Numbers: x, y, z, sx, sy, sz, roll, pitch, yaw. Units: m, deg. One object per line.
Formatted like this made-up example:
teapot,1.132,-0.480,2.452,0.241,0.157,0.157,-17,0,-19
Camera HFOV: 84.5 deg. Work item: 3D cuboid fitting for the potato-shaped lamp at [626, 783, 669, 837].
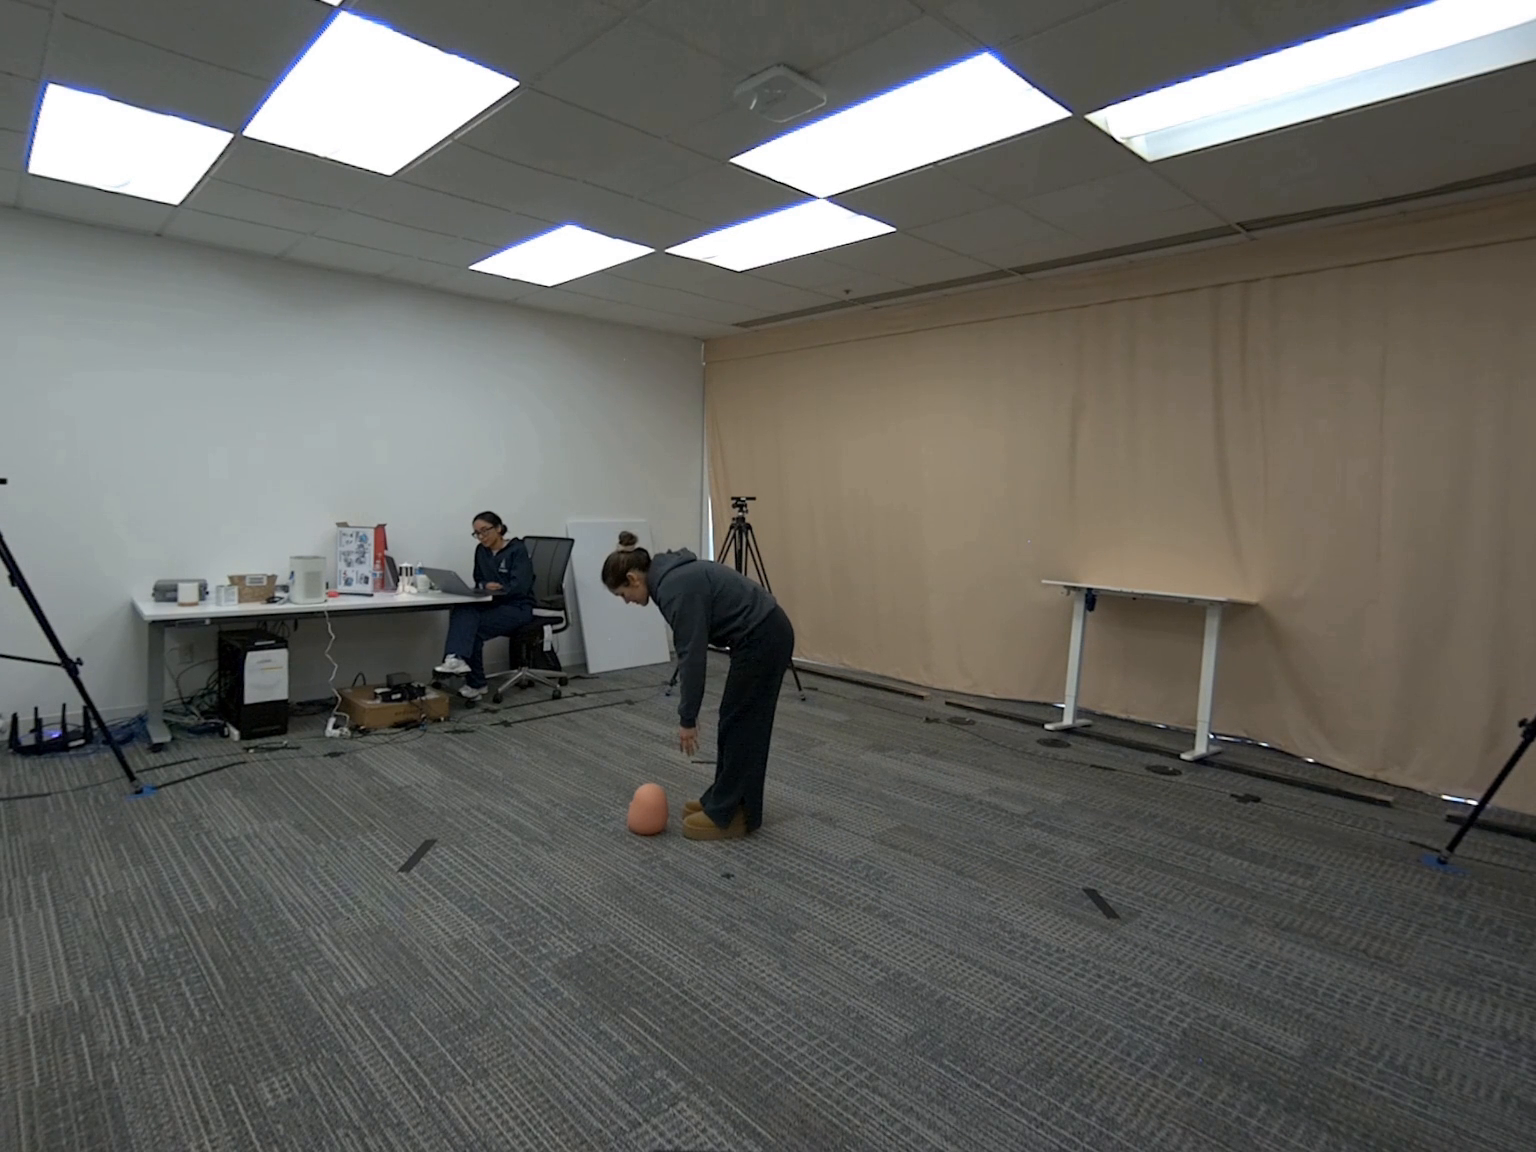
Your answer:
potato-shaped lamp,-0.507,0.962,3.509,0.161,0.198,0.176,2,3,-36
